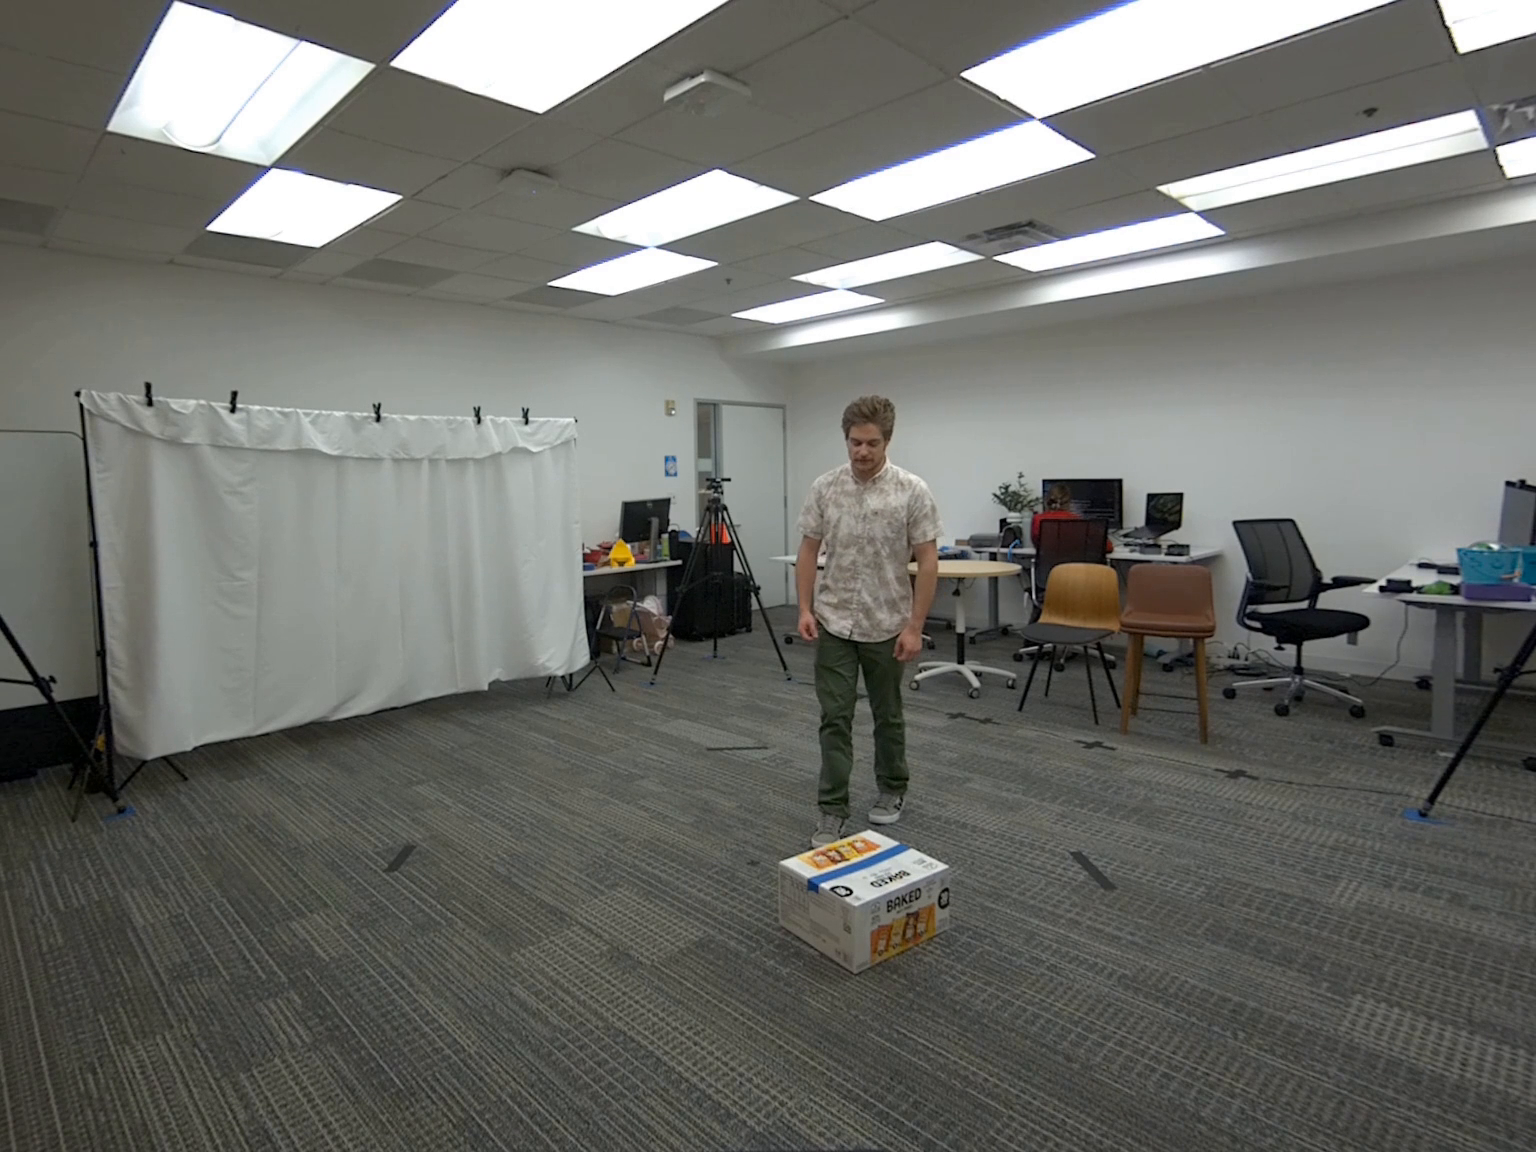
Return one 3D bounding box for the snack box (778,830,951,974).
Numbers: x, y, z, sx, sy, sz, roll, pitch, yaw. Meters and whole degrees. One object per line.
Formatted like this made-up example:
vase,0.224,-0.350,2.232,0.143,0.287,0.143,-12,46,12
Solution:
snack box,0.300,0.991,2.635,0.395,0.205,0.350,-6,7,-37
